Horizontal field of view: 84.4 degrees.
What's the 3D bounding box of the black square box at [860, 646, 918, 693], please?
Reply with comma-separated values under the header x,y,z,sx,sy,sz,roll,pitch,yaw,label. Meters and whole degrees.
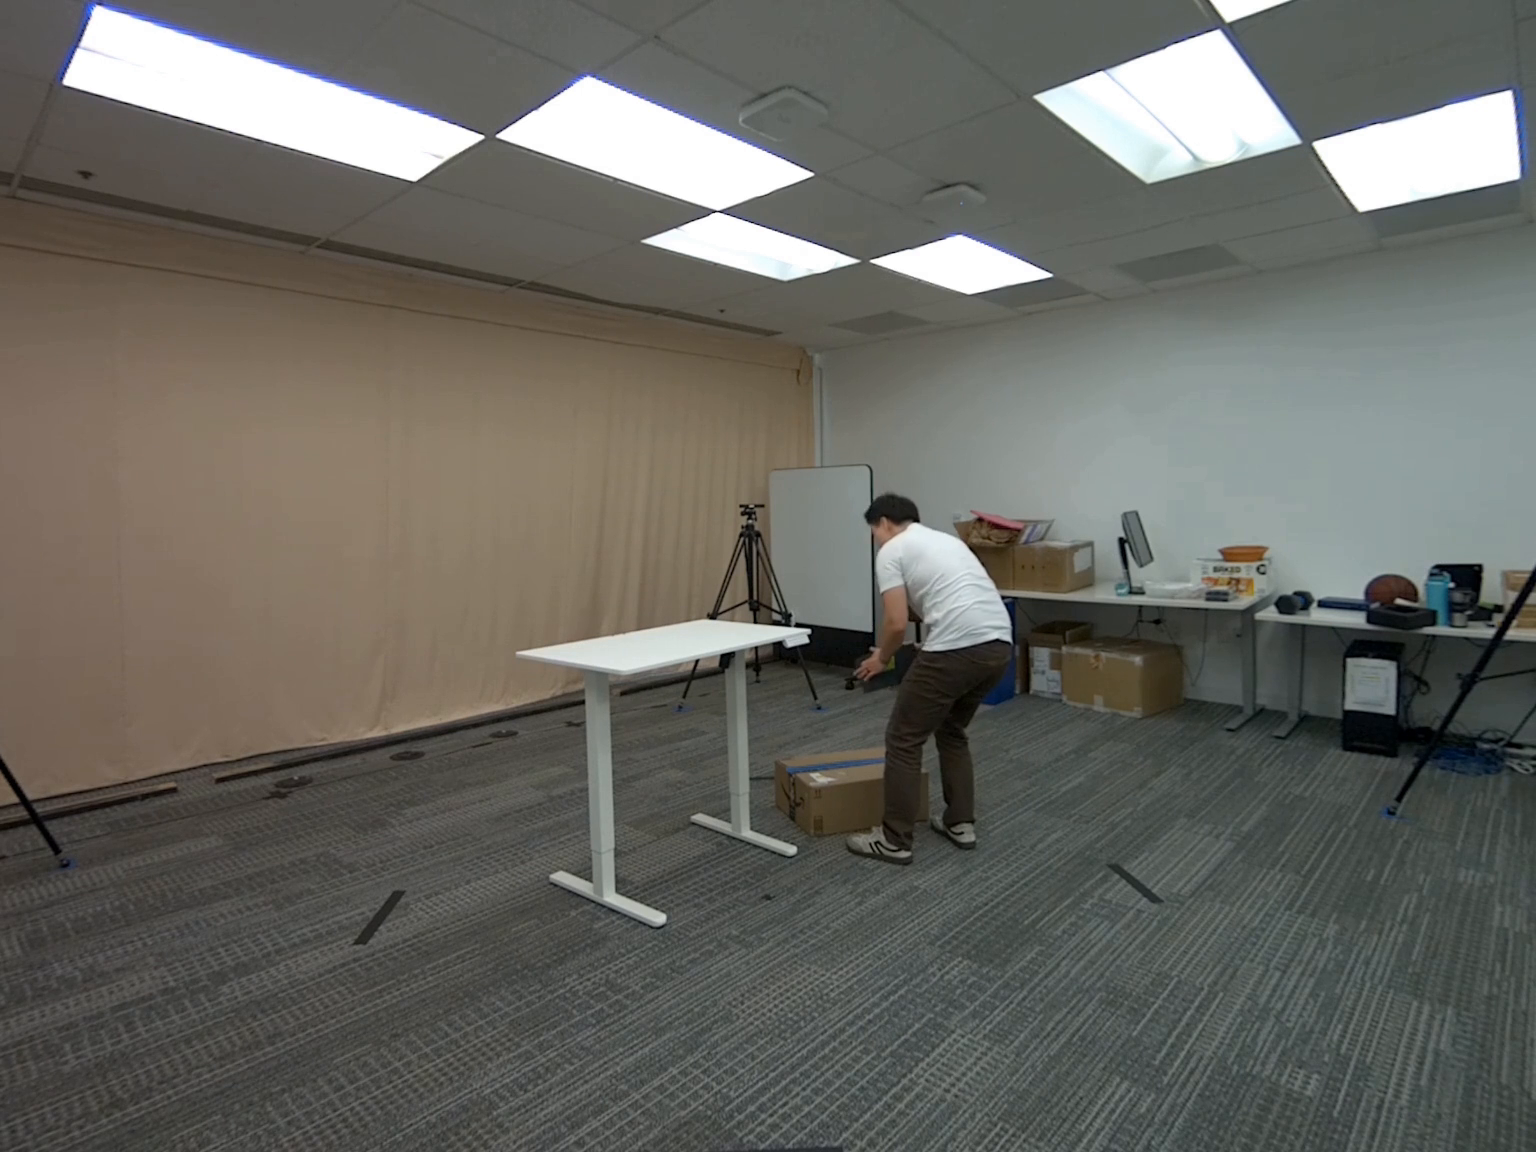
x,y,z,sx,sy,sz,roll,pitch,yaw,label
0.527,0.406,3.677,0.227,0.157,0.216,-11,-8,-4,black square box
